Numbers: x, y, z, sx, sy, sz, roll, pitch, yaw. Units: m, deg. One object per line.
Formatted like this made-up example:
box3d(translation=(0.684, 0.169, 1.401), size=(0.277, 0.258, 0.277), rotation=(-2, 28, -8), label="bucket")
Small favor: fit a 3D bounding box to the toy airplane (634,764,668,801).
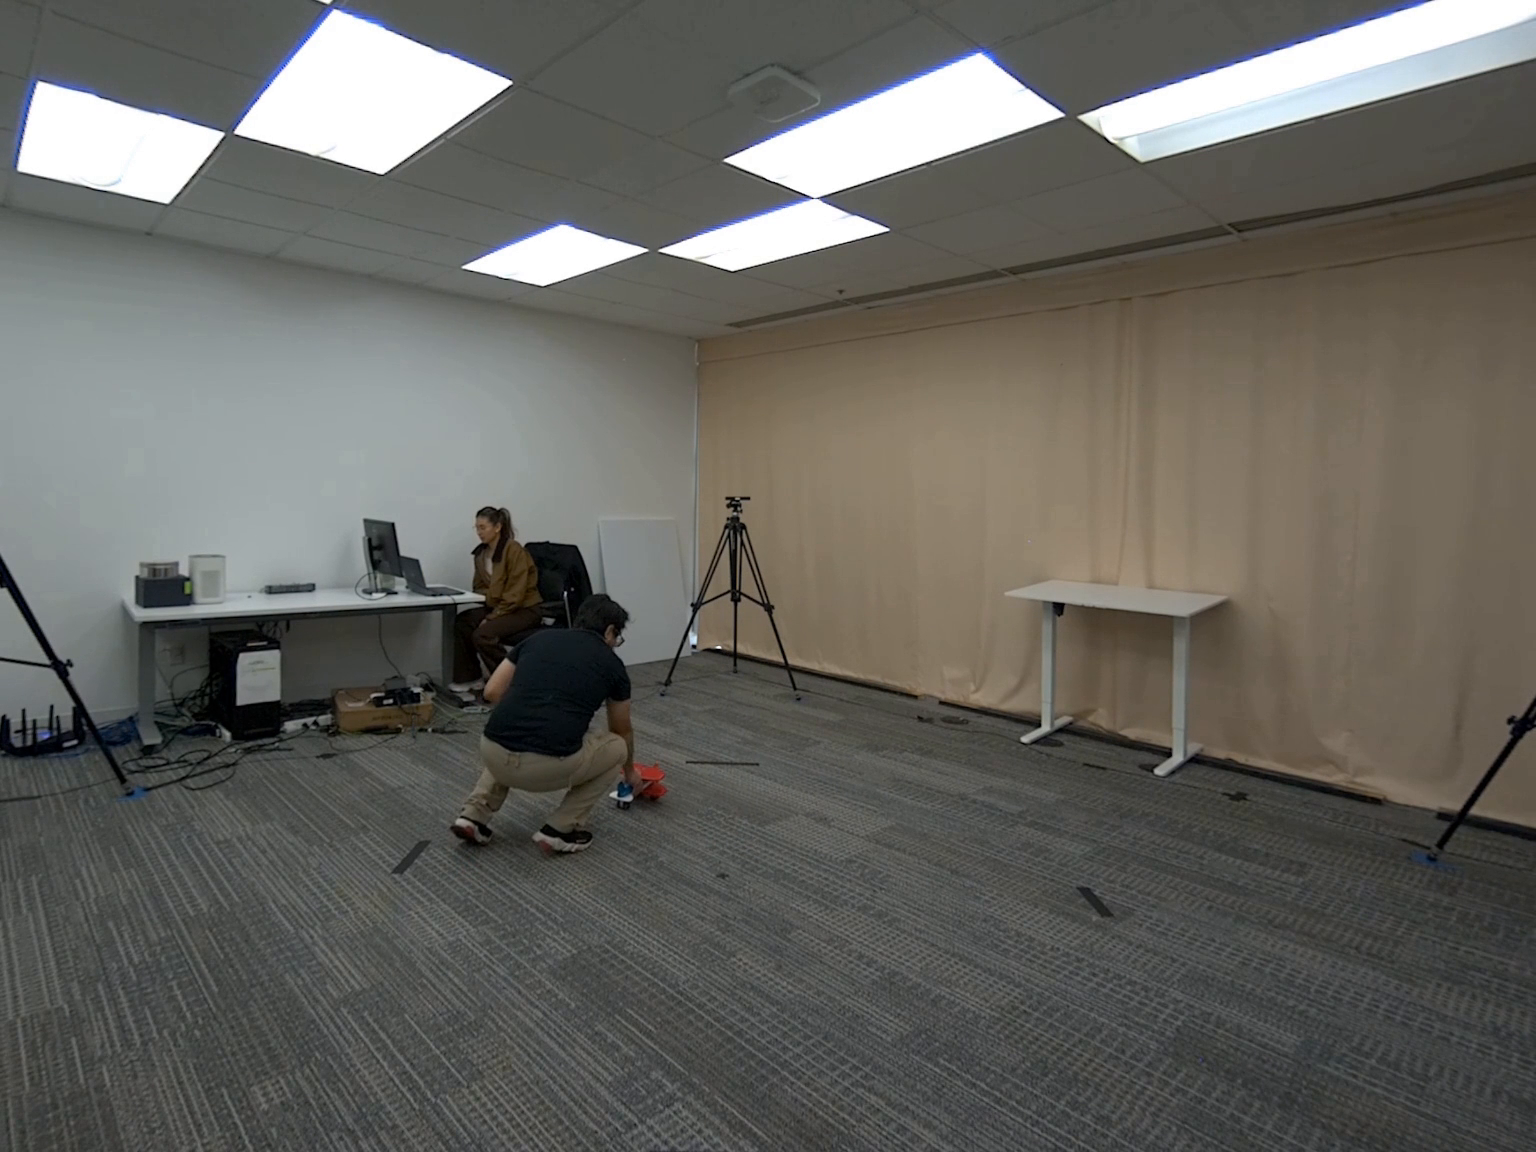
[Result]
box3d(translation=(-0.589, 0.960, 3.829), size=(0.251, 0.156, 0.259), rotation=(1, 4, 1), label="toy airplane")
